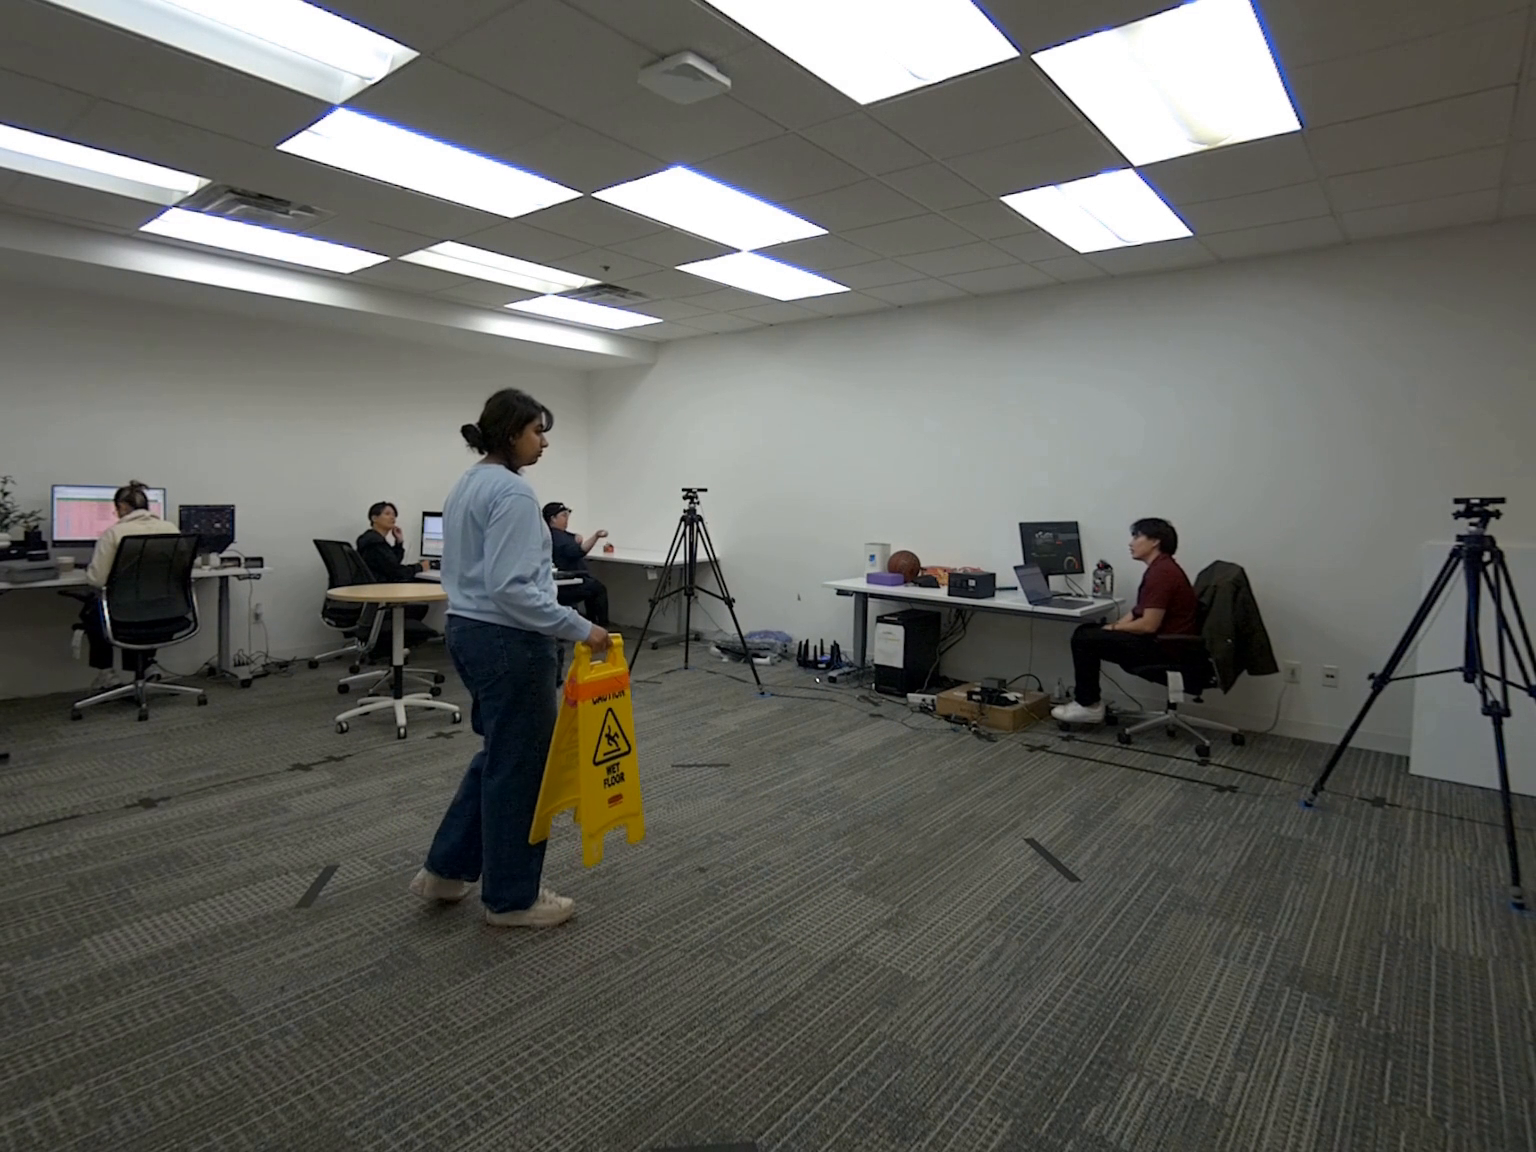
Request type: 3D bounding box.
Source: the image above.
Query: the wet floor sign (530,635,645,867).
[{"bbox_3d":[-0.557,0.512,2.643,0.299,0.644,0.274,7,4,32],"label":"wet floor sign"}]
